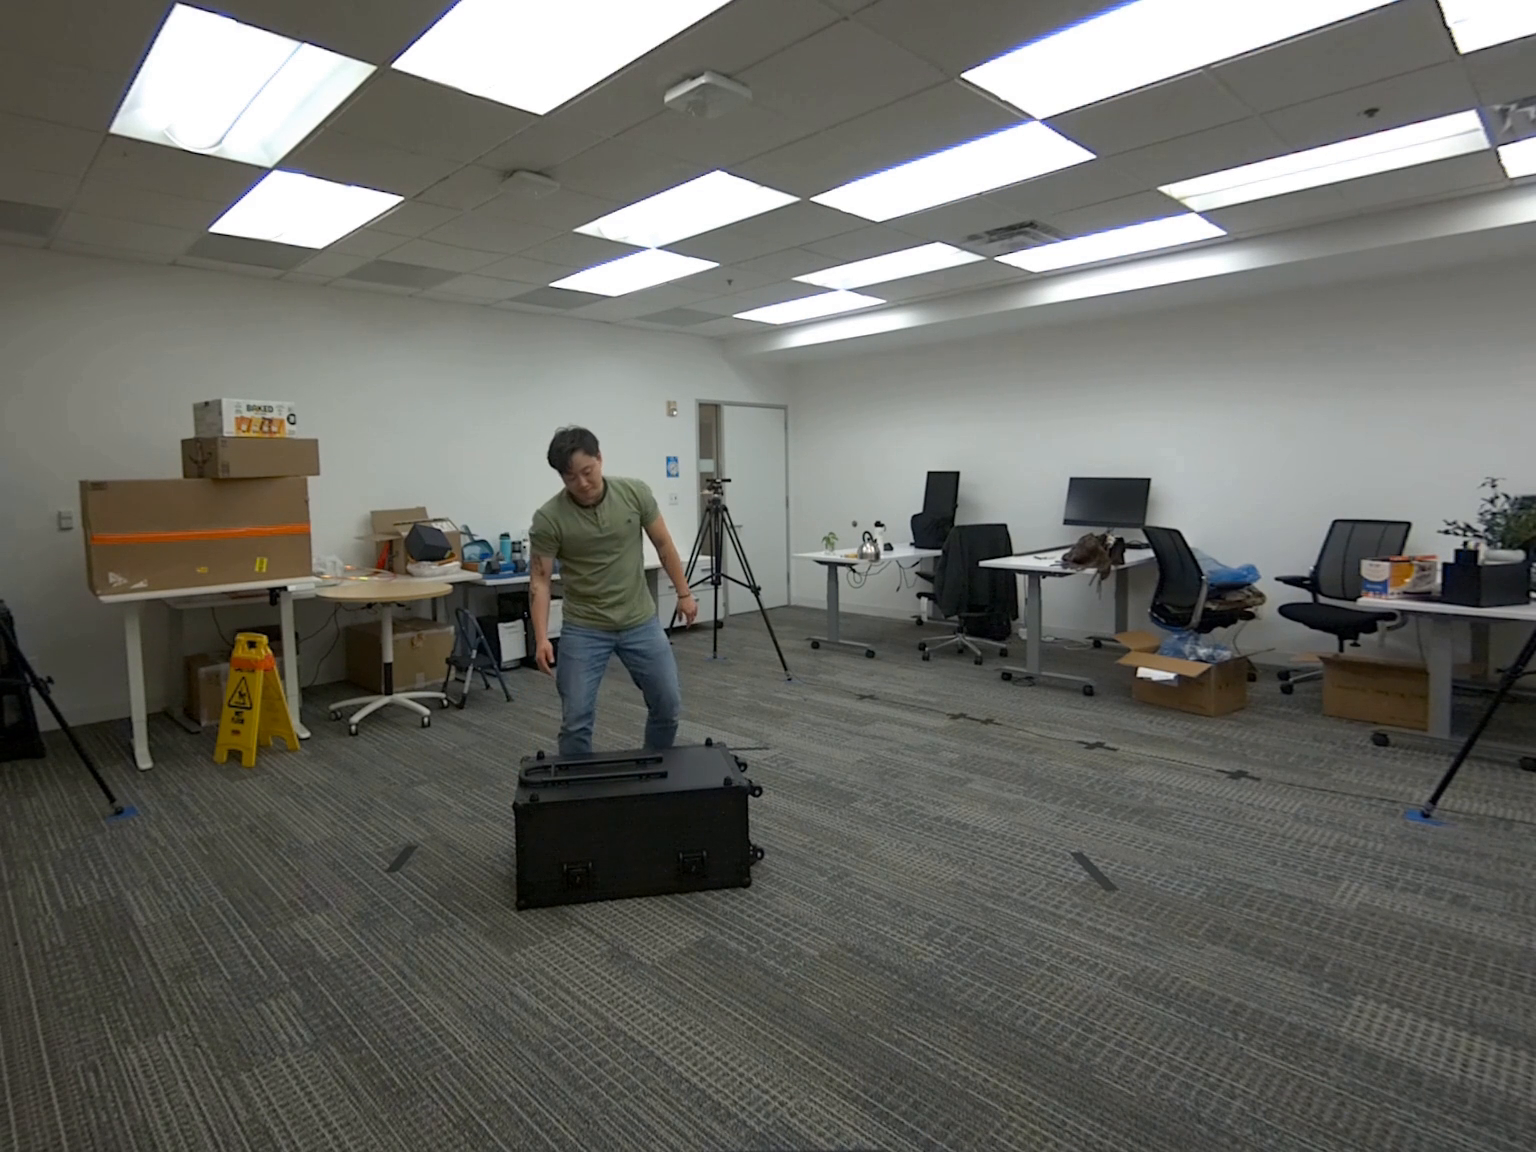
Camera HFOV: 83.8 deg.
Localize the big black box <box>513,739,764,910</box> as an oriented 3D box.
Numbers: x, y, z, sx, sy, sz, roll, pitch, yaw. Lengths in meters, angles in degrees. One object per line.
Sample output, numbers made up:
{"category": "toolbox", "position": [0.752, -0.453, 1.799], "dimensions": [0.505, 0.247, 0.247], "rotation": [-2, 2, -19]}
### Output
{"category": "big black box", "position": [-0.461, 0.859, 3.088], "dimensions": [0.853, 0.395, 0.529], "rotation": [-1, 5, -11]}
